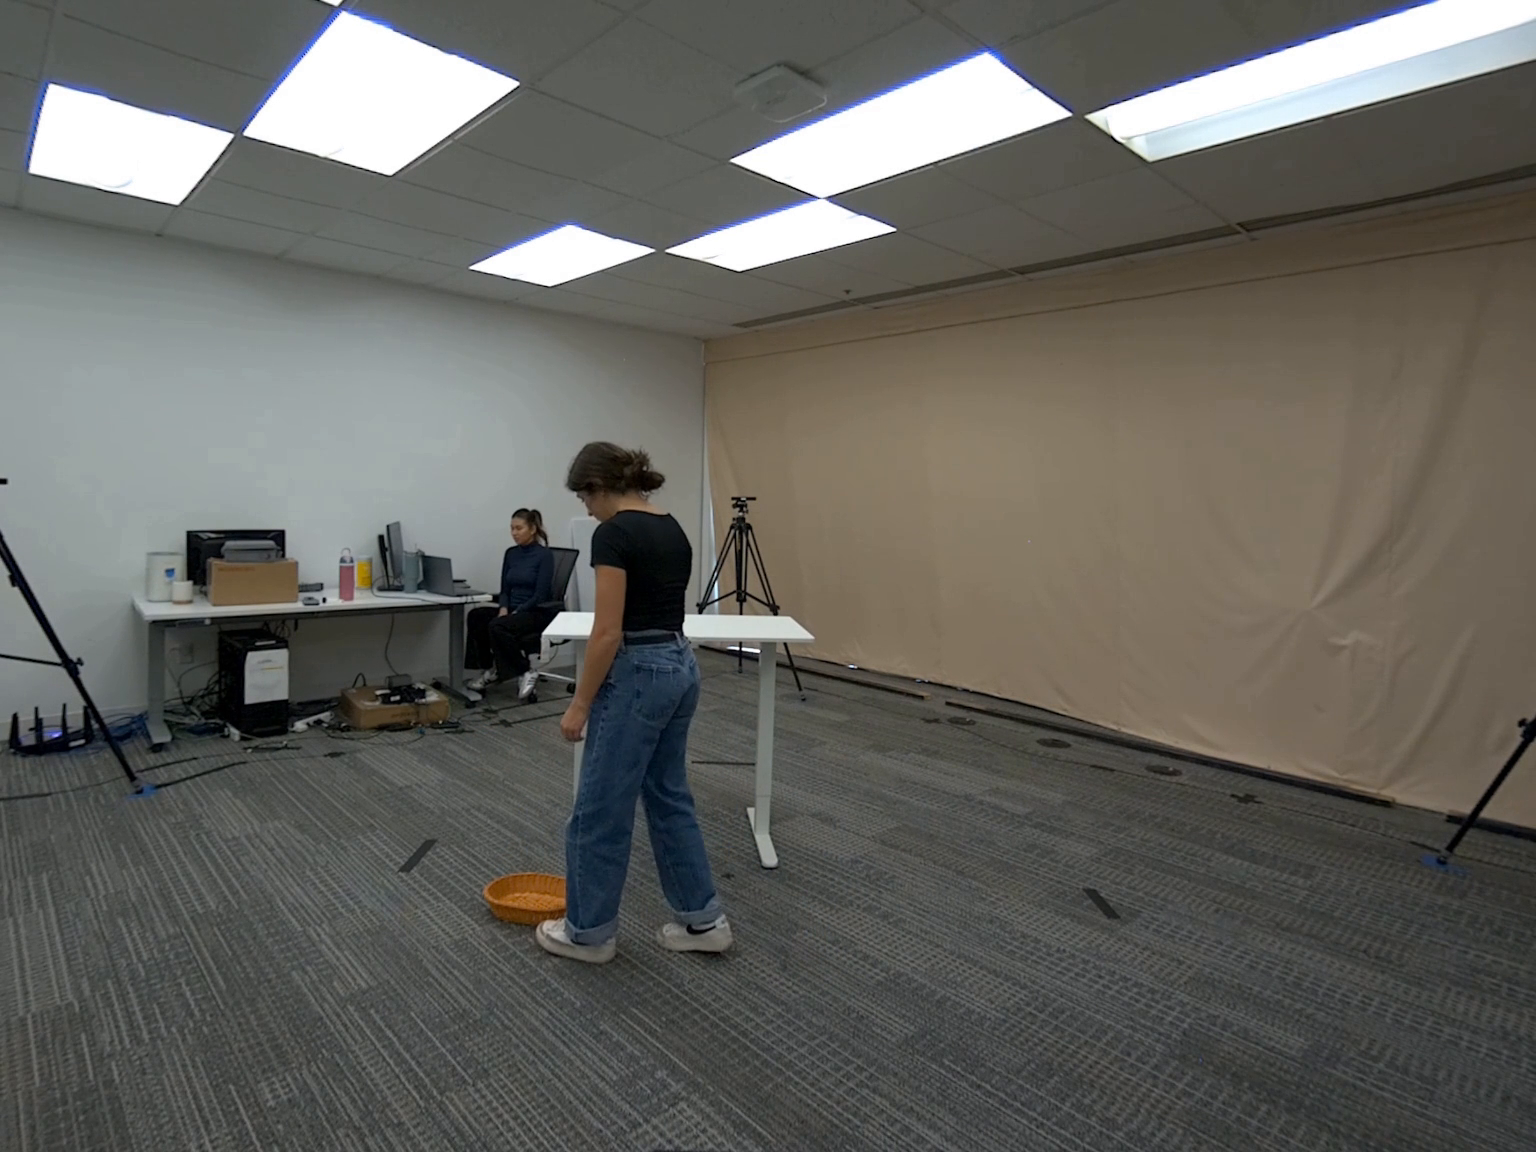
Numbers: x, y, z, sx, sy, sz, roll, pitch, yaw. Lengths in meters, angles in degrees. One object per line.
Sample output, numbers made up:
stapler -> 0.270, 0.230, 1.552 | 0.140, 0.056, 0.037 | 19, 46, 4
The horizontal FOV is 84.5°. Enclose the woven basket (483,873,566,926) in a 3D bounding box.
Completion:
woven basket -> -0.780, 1.080, 2.805 | 0.356, 0.073, 0.249 | 3, 4, 19
